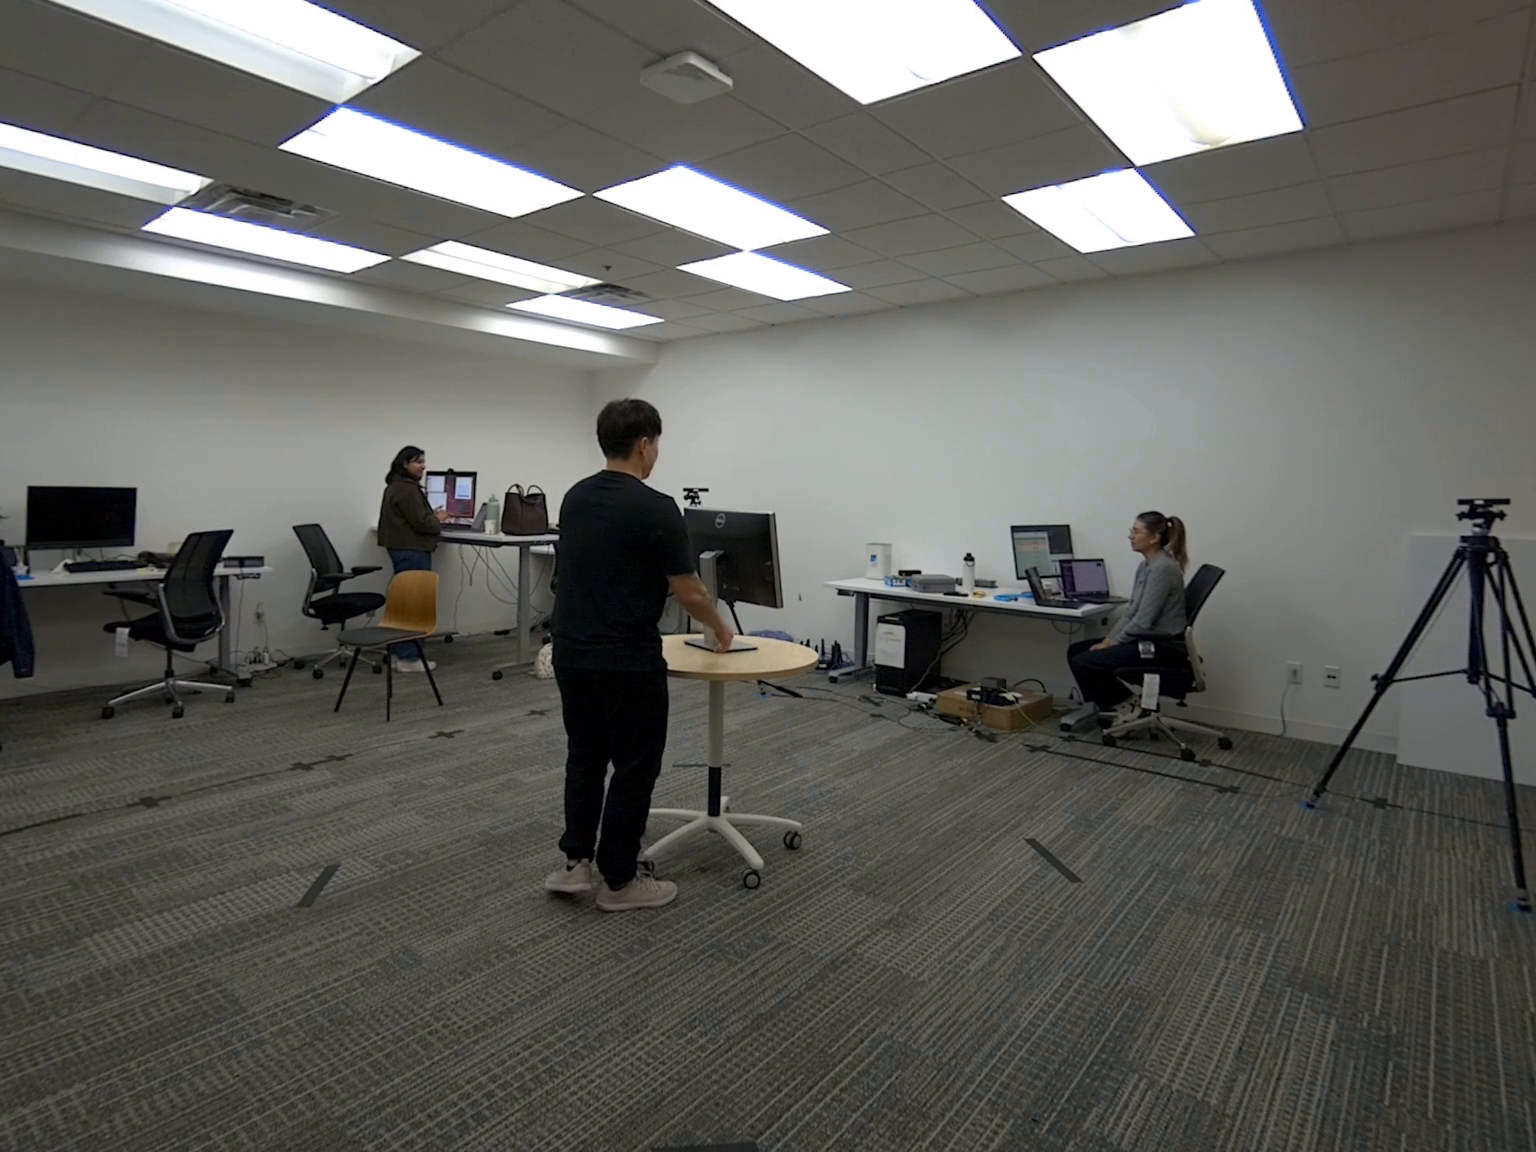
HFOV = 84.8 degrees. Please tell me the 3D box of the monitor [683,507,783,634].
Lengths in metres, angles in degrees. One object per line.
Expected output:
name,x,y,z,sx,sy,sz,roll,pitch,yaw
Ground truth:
monitor,-0.189,0.010,3.329,0.181,0.521,0.558,1,4,-42
